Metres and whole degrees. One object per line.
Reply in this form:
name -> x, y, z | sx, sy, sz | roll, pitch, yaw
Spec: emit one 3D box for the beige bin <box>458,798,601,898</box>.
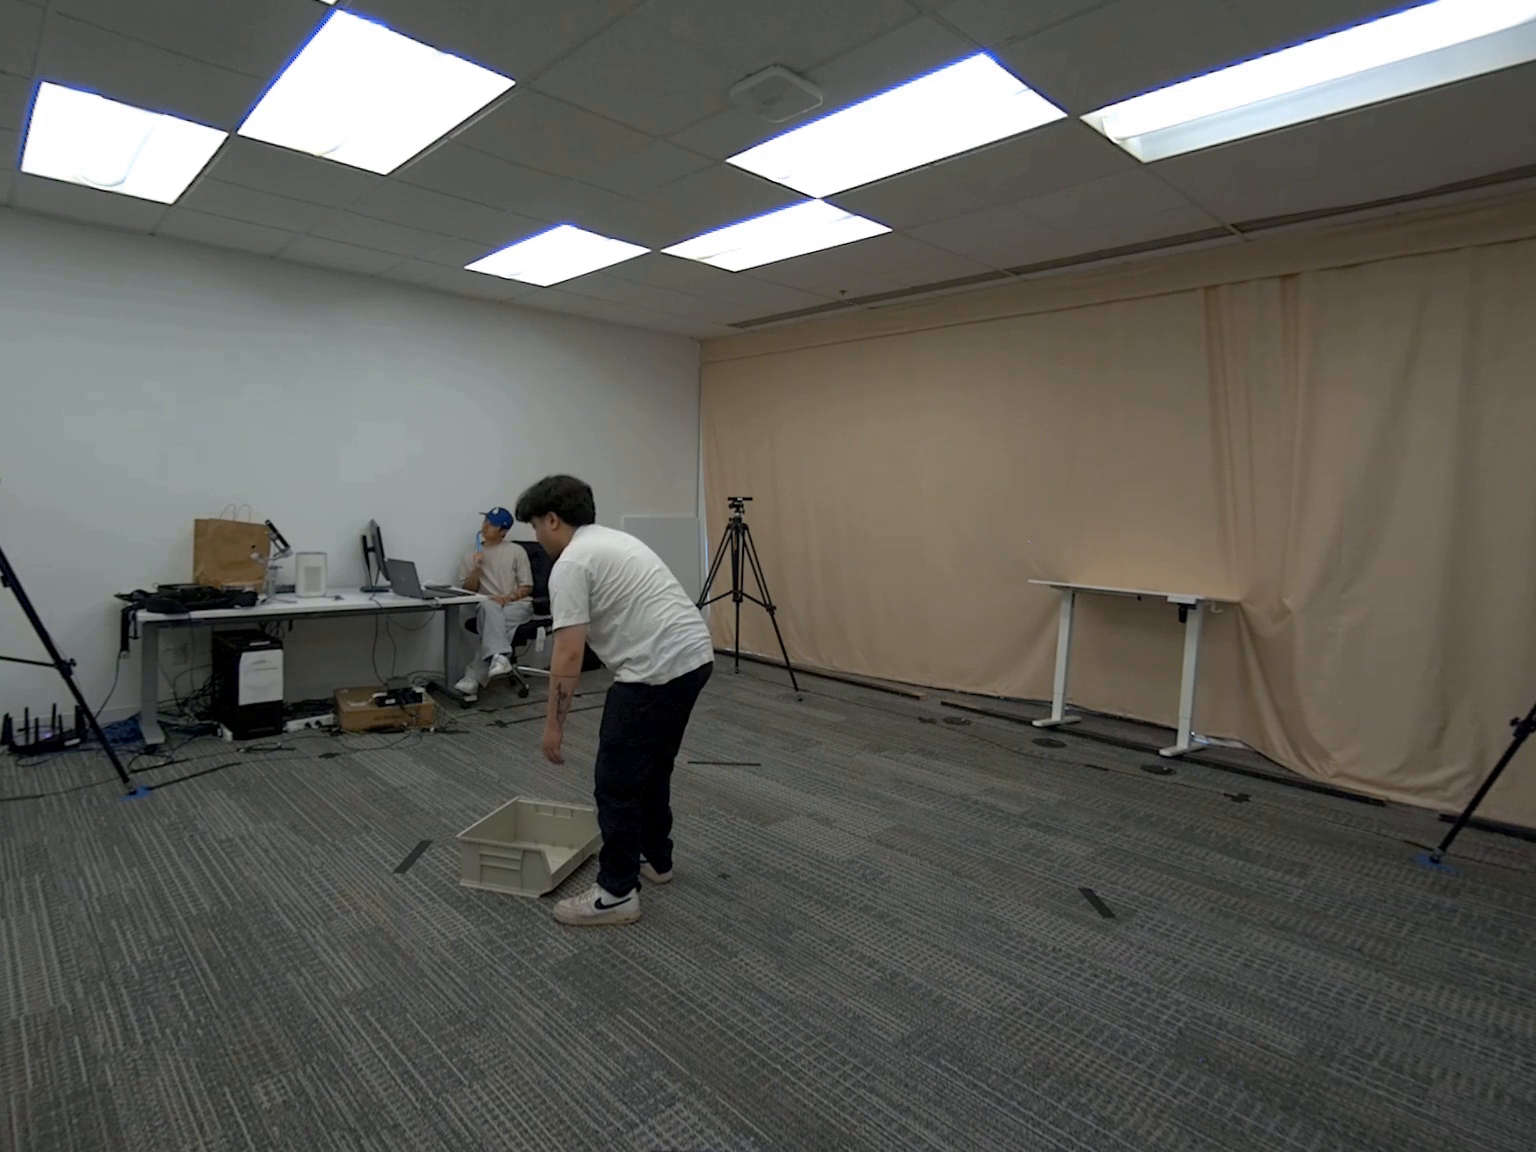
beige bin -> -0.874, 0.998, 3.125 | 0.382, 0.188, 0.419 | 2, 6, 14
